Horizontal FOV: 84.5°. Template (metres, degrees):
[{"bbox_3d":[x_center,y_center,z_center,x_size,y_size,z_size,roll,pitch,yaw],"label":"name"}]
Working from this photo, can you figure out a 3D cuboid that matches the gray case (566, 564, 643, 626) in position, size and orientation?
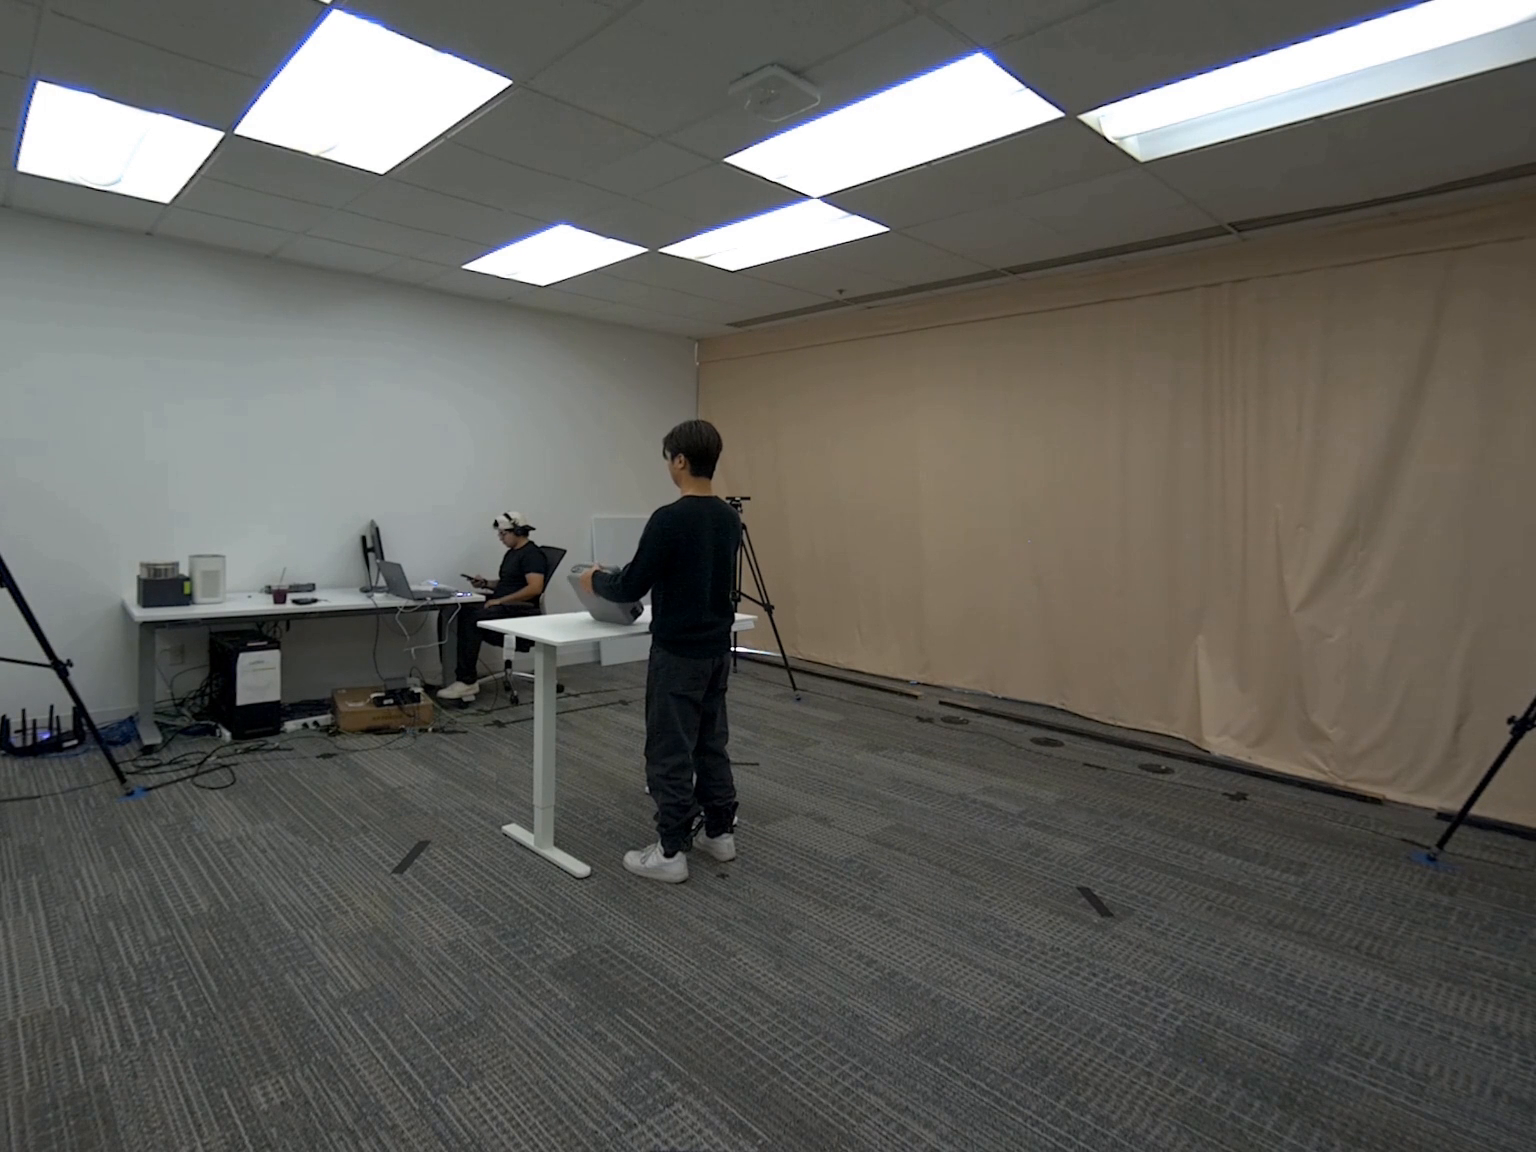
[{"bbox_3d":[-0.657,0.067,3.357,0.267,0.250,0.104,3,40,43],"label":"gray case"}]
